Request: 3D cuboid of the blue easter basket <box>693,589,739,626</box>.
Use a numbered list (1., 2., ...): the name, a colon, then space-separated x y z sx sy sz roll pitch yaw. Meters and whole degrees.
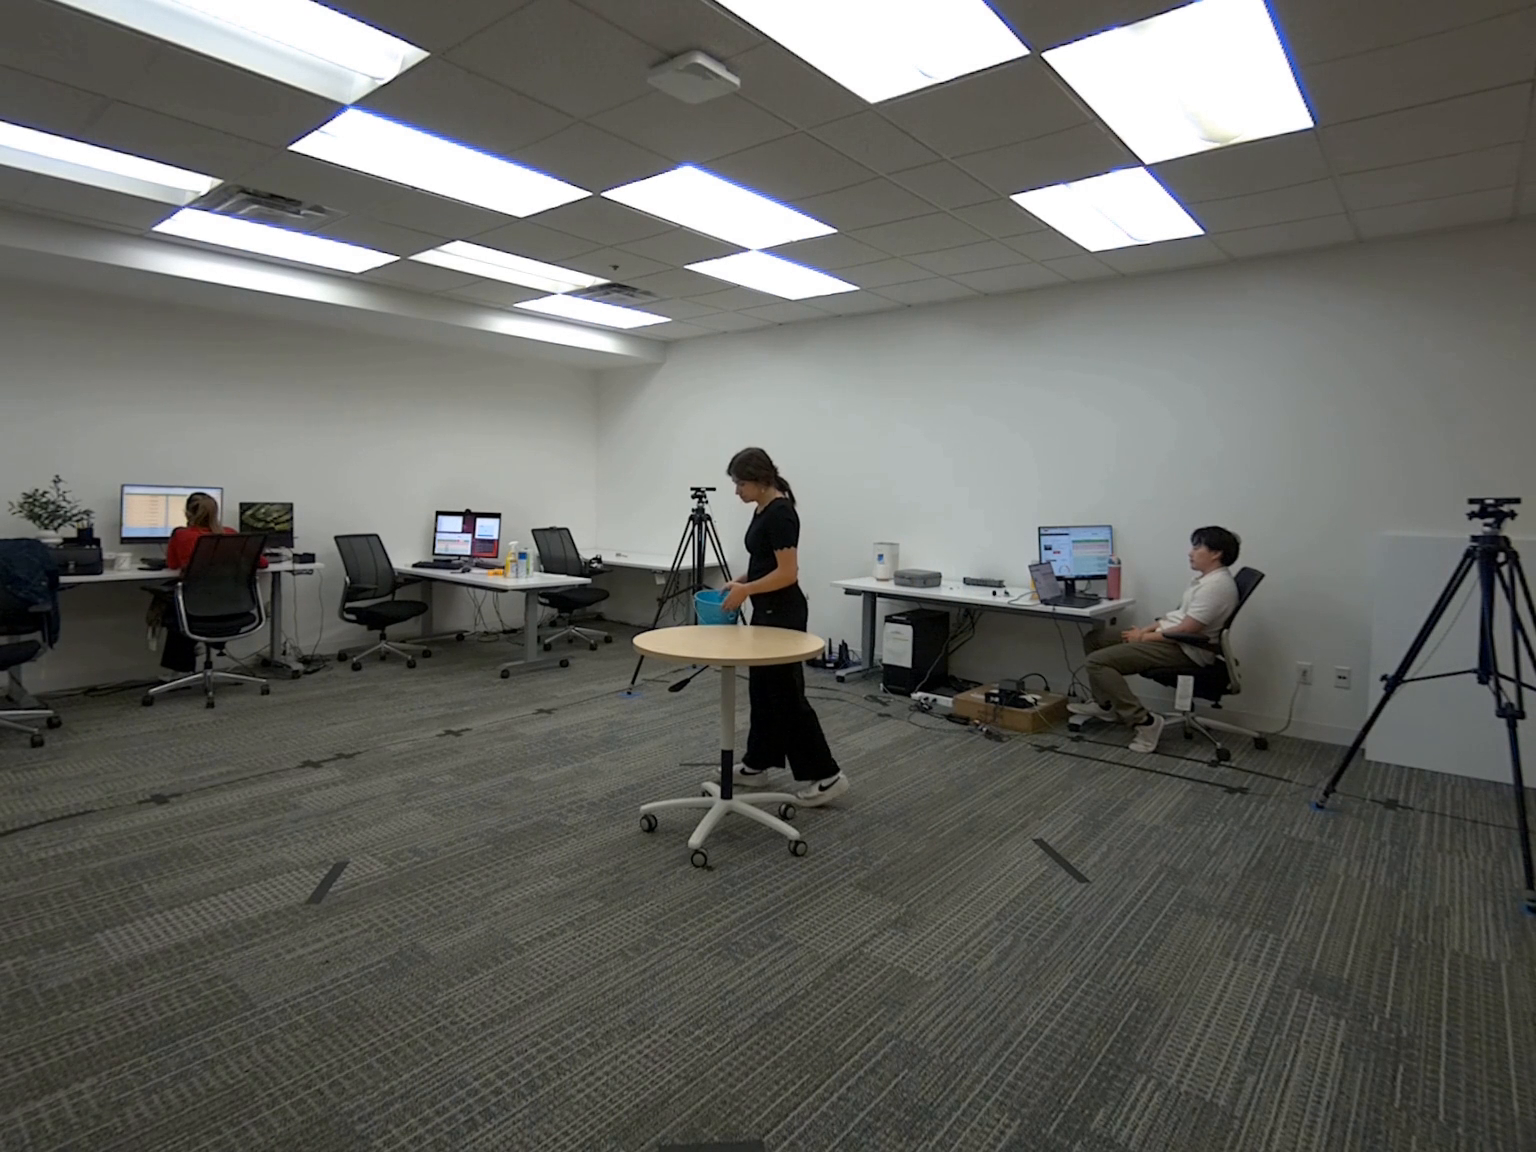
1. blue easter basket: -0.232 0.163 3.985 0.243 0.154 0.246 2 10 -2
